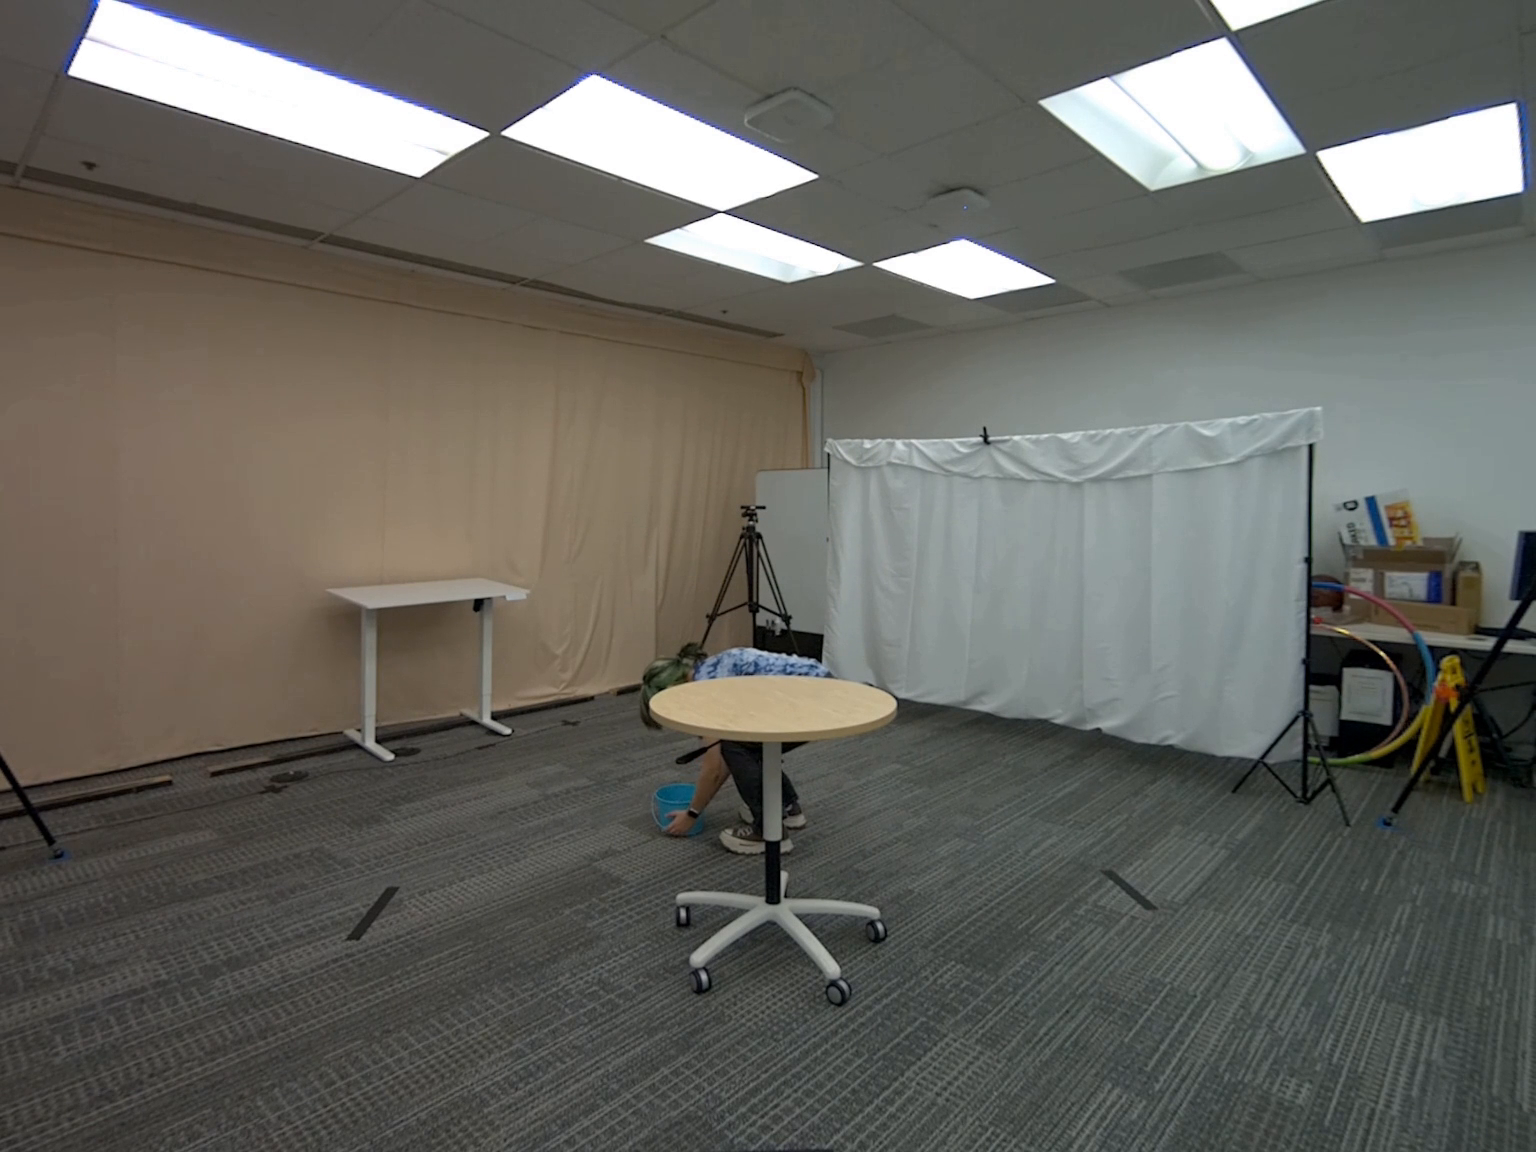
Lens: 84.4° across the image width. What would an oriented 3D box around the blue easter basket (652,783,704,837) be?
[{"bbox_3d":[-0.381,1.010,3.638,0.243,0.155,0.244,1,4,-2],"label":"blue easter basket"}]
